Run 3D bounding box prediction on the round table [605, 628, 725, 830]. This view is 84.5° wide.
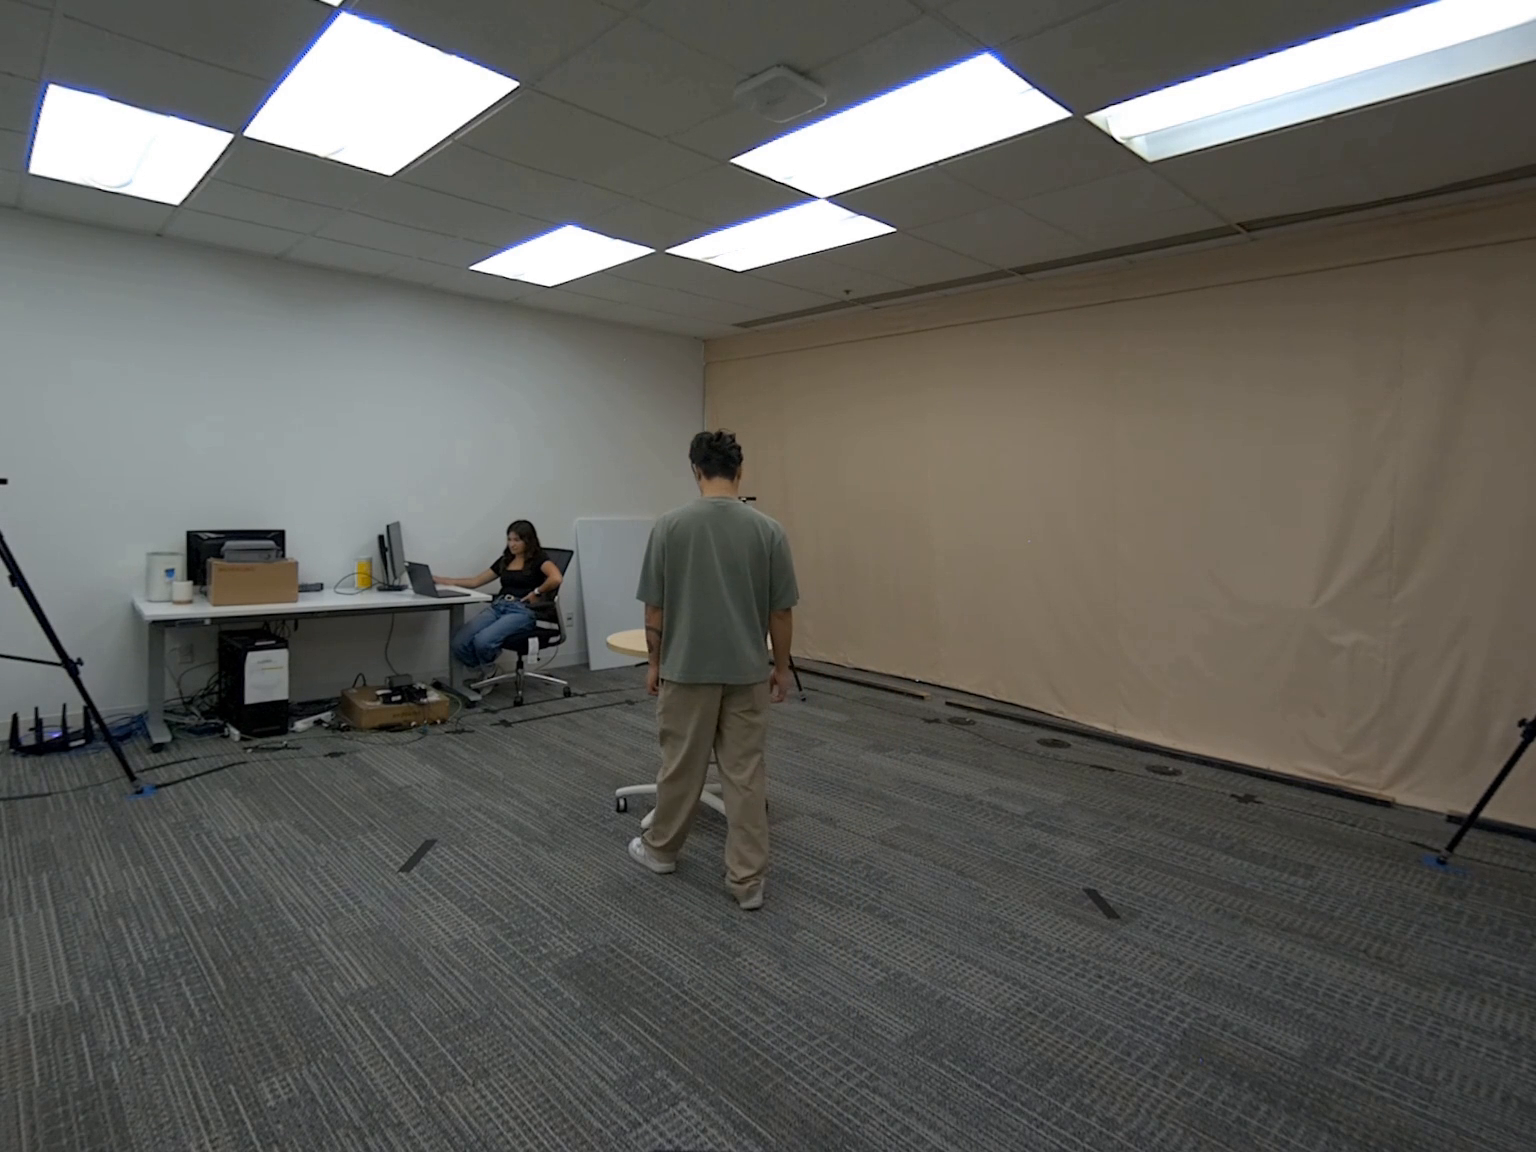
[{"bbox_3d":[-0.336,0.665,3.655,0.784,0.784,0.788,2,4,-1],"label":"round table"}]
